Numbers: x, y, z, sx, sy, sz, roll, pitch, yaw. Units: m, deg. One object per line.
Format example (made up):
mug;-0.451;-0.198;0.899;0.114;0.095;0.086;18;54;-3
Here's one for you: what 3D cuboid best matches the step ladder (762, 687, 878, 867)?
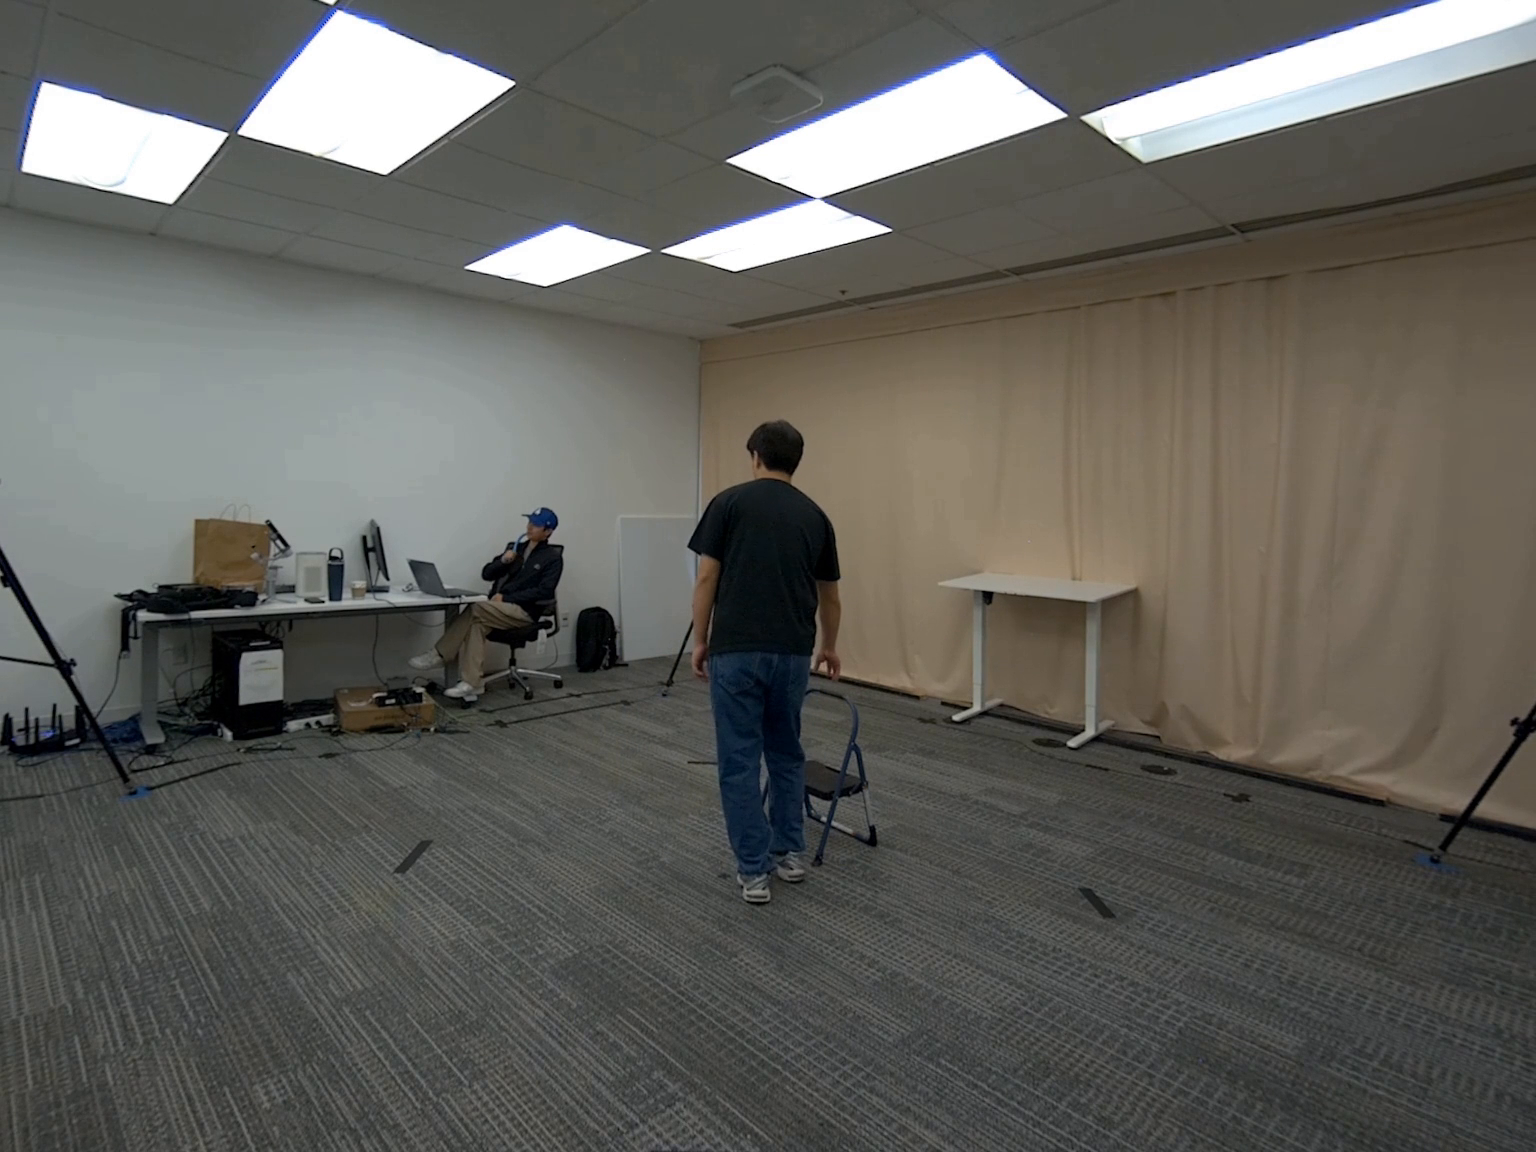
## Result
step ladder;0.188;0.781;3.460;0.341;0.605;0.441;-1;4;-38
